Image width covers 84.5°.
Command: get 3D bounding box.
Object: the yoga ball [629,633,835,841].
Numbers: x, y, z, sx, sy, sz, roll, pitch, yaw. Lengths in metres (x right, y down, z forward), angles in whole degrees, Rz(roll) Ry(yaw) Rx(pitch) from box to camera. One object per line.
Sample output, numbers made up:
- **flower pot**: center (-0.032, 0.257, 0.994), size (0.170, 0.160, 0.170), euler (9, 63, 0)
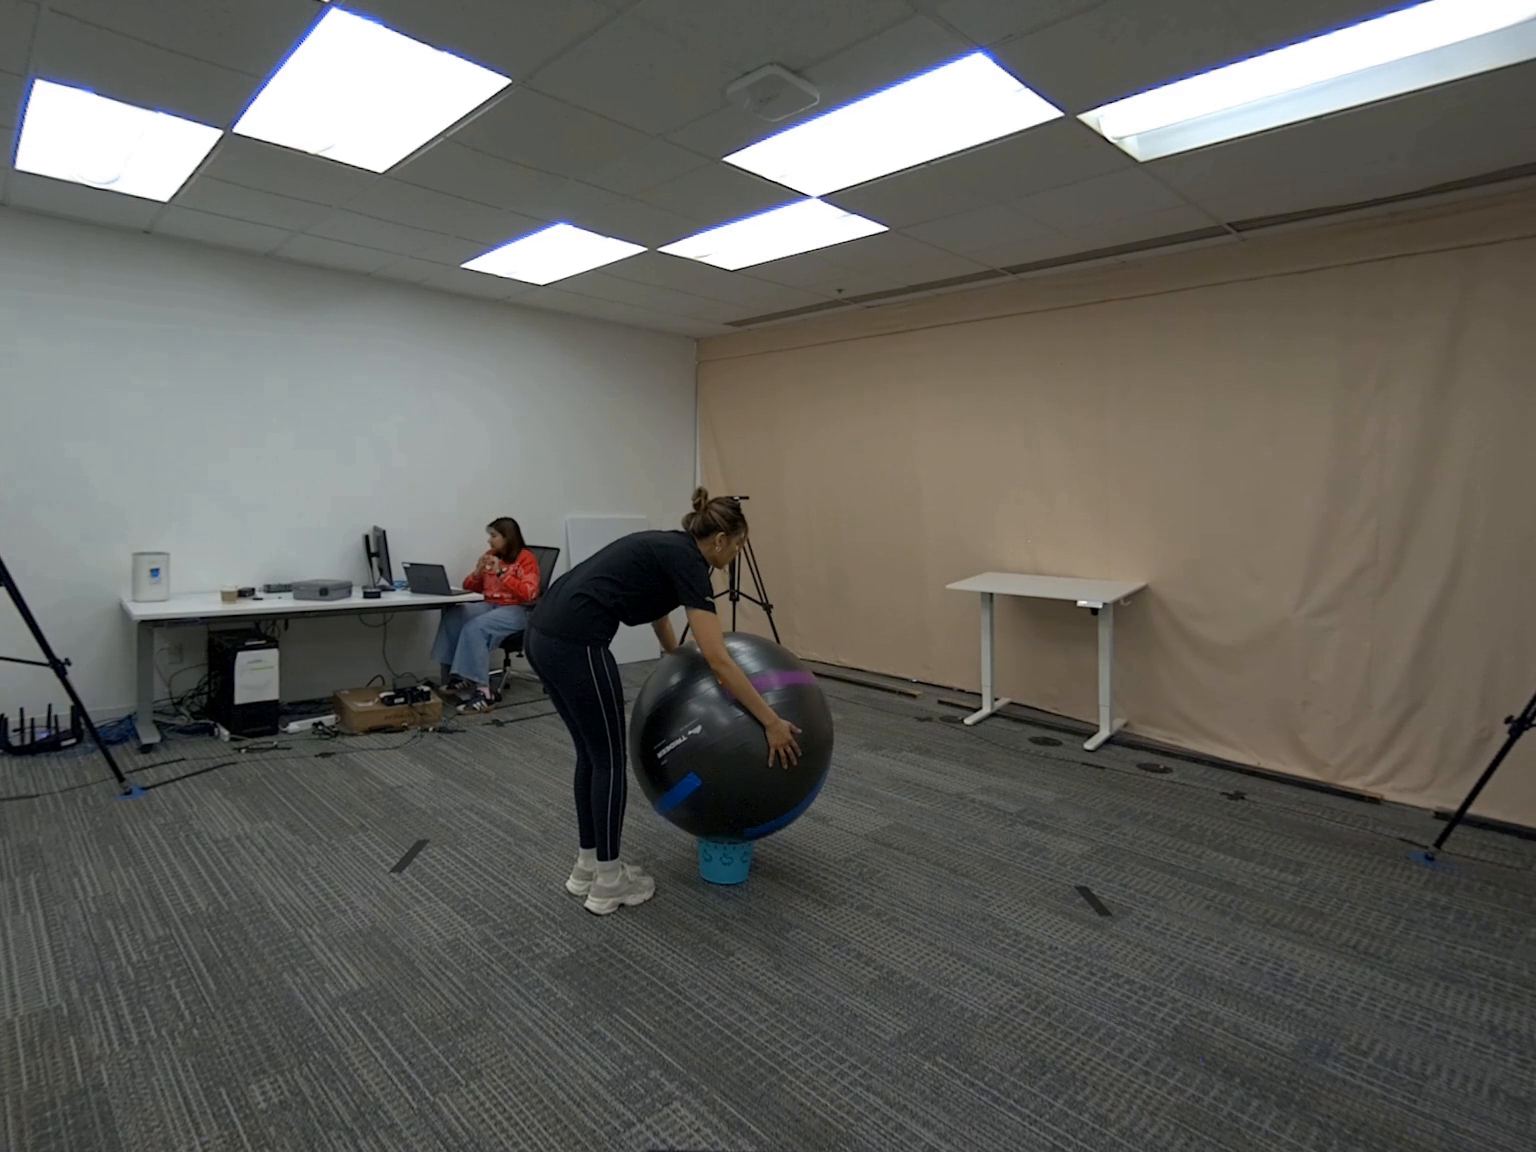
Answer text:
- **yoga ball**: center (-0.142, 0.587, 3.113), size (0.757, 0.756, 0.761), euler (1, 4, -1)
